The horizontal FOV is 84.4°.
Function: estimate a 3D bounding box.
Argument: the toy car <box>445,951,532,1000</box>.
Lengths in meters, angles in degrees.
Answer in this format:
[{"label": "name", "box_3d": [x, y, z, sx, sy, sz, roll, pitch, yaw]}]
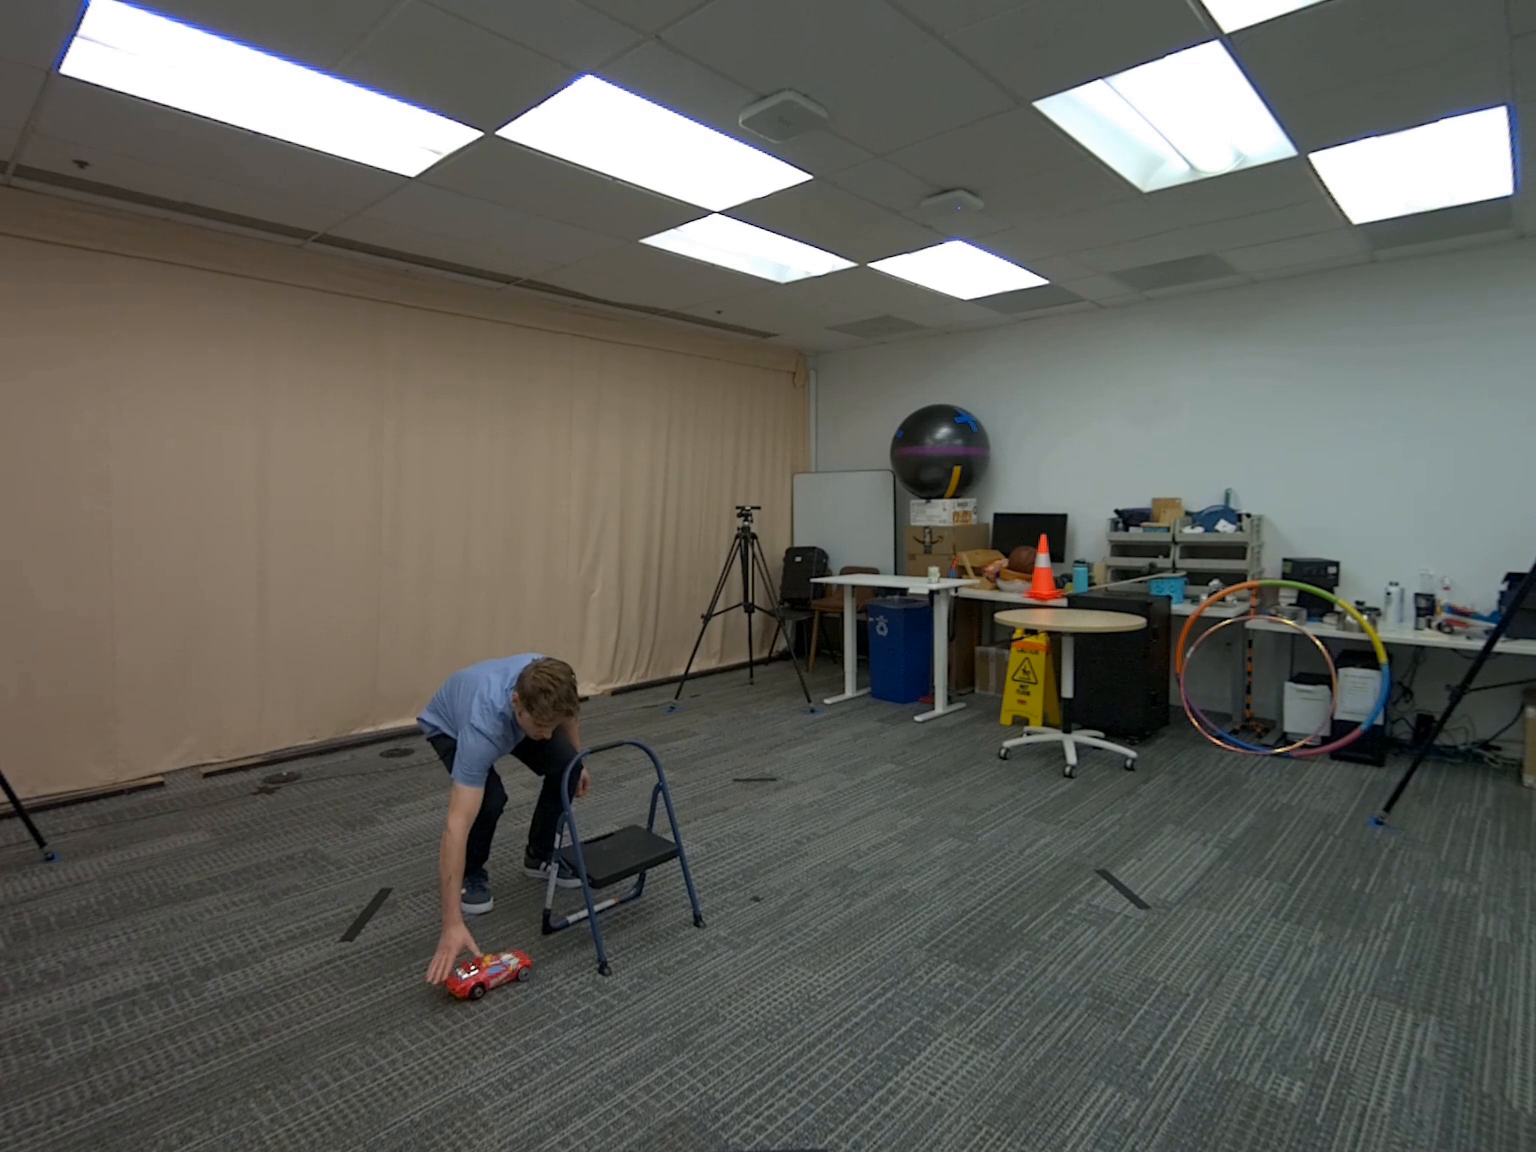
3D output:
[{"label": "toy car", "box_3d": [-0.822, 1.159, 2.455, 0.246, 0.083, 0.134, 10, -4, -42]}]
